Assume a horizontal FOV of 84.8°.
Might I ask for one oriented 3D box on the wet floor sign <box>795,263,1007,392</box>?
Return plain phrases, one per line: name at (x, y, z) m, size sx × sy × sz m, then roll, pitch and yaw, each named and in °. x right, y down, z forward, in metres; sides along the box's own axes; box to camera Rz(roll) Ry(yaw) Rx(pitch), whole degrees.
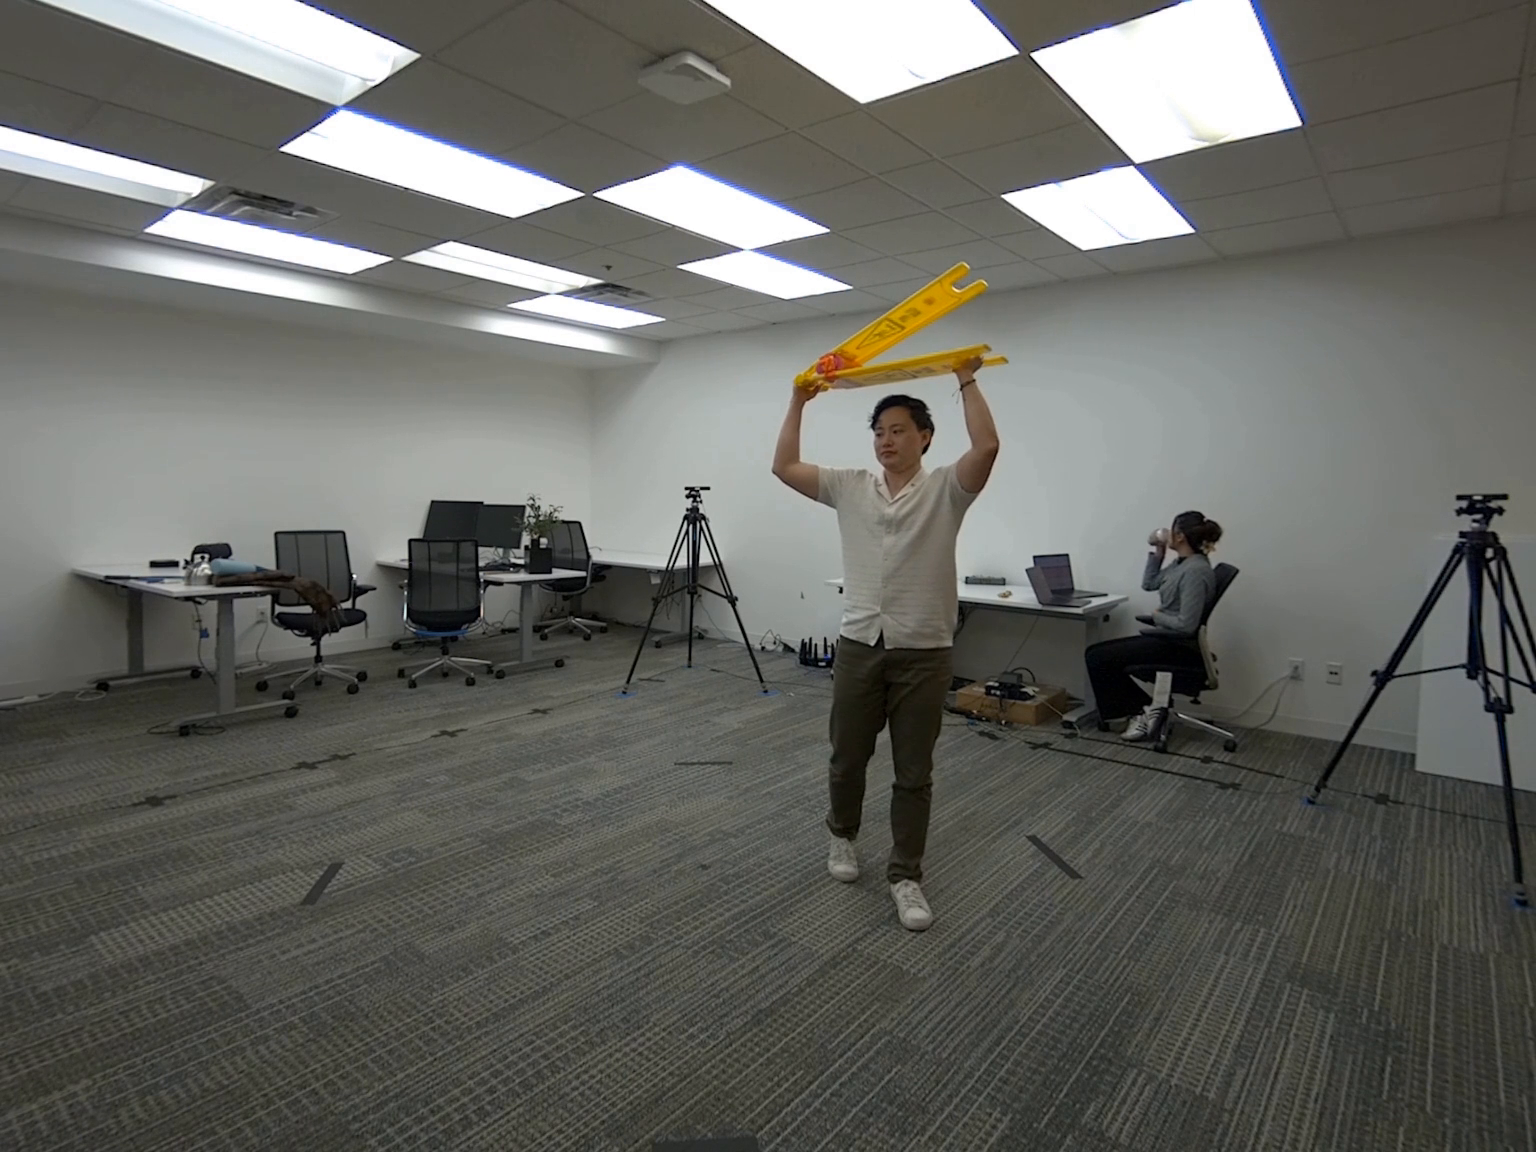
wet floor sign at (0.395, -0.733, 2.789) m, size 0.659 × 0.292 × 0.274 m, roll -16°, pitch -8°, yaw 31°
